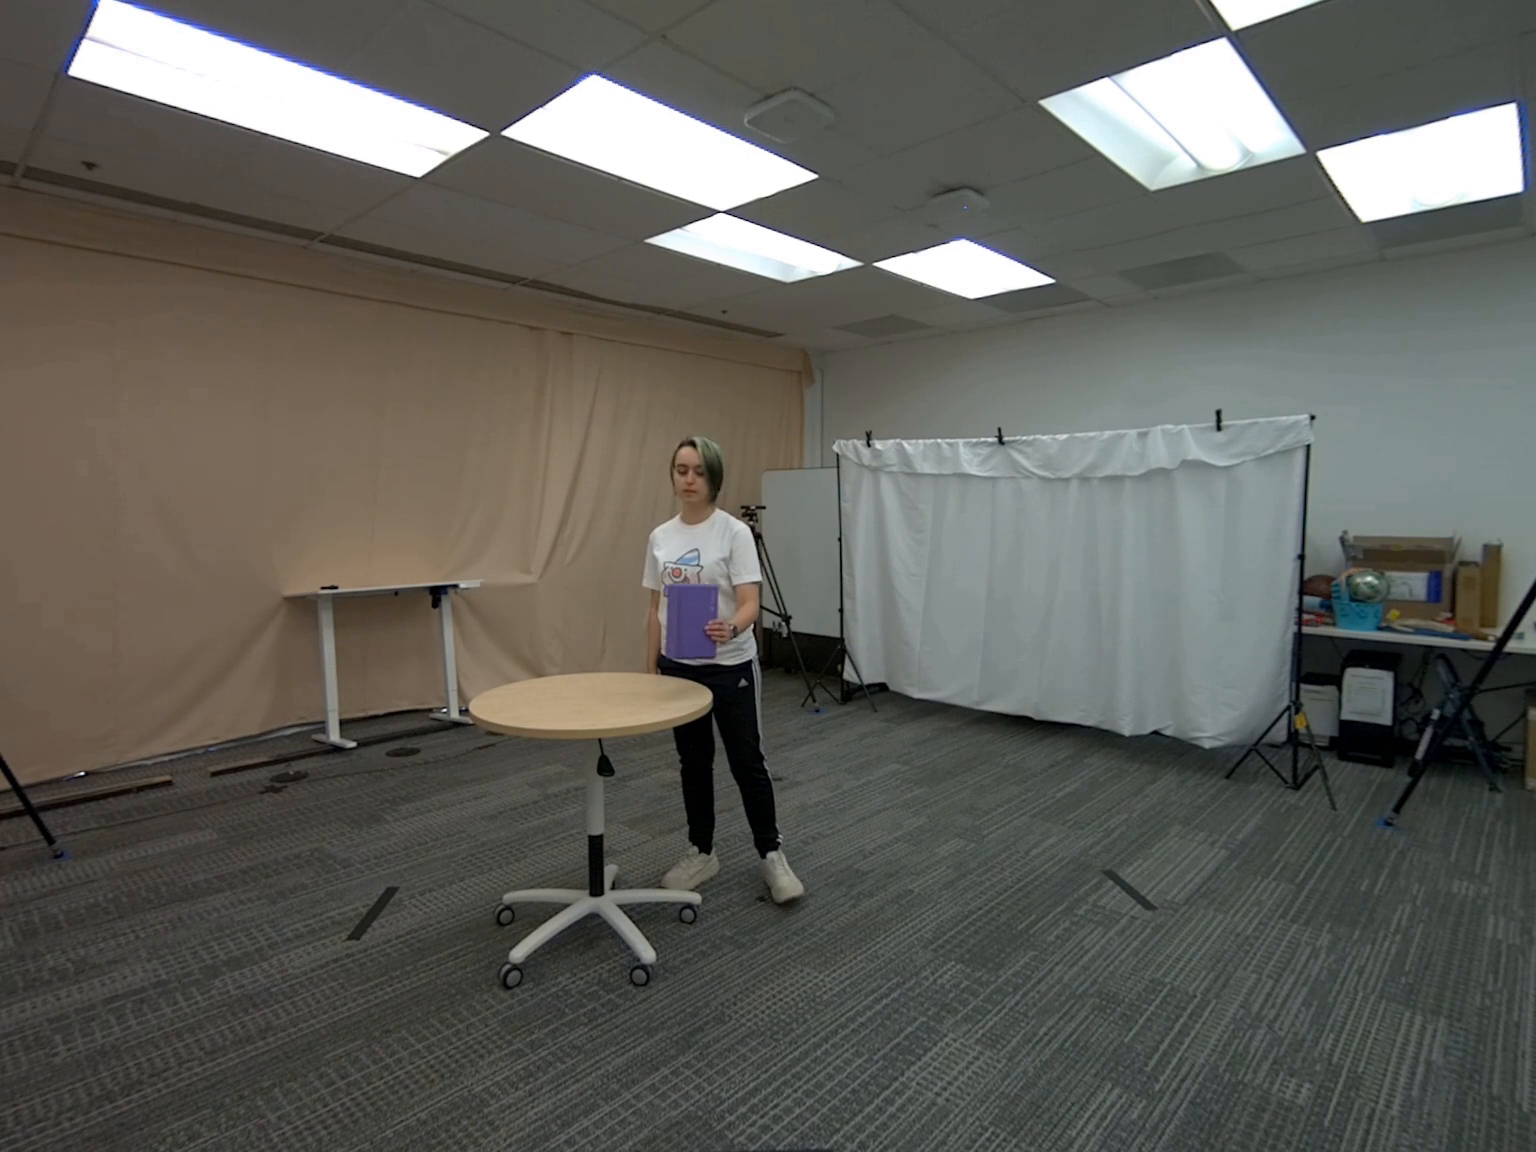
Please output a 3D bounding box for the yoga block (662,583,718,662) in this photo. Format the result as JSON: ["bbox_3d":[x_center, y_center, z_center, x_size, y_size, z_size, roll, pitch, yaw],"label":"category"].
[{"bbox_3d":[-0.231,0.145,2.592,0.144,0.229,0.079,2,-2,-36],"label":"yoga block"}]
